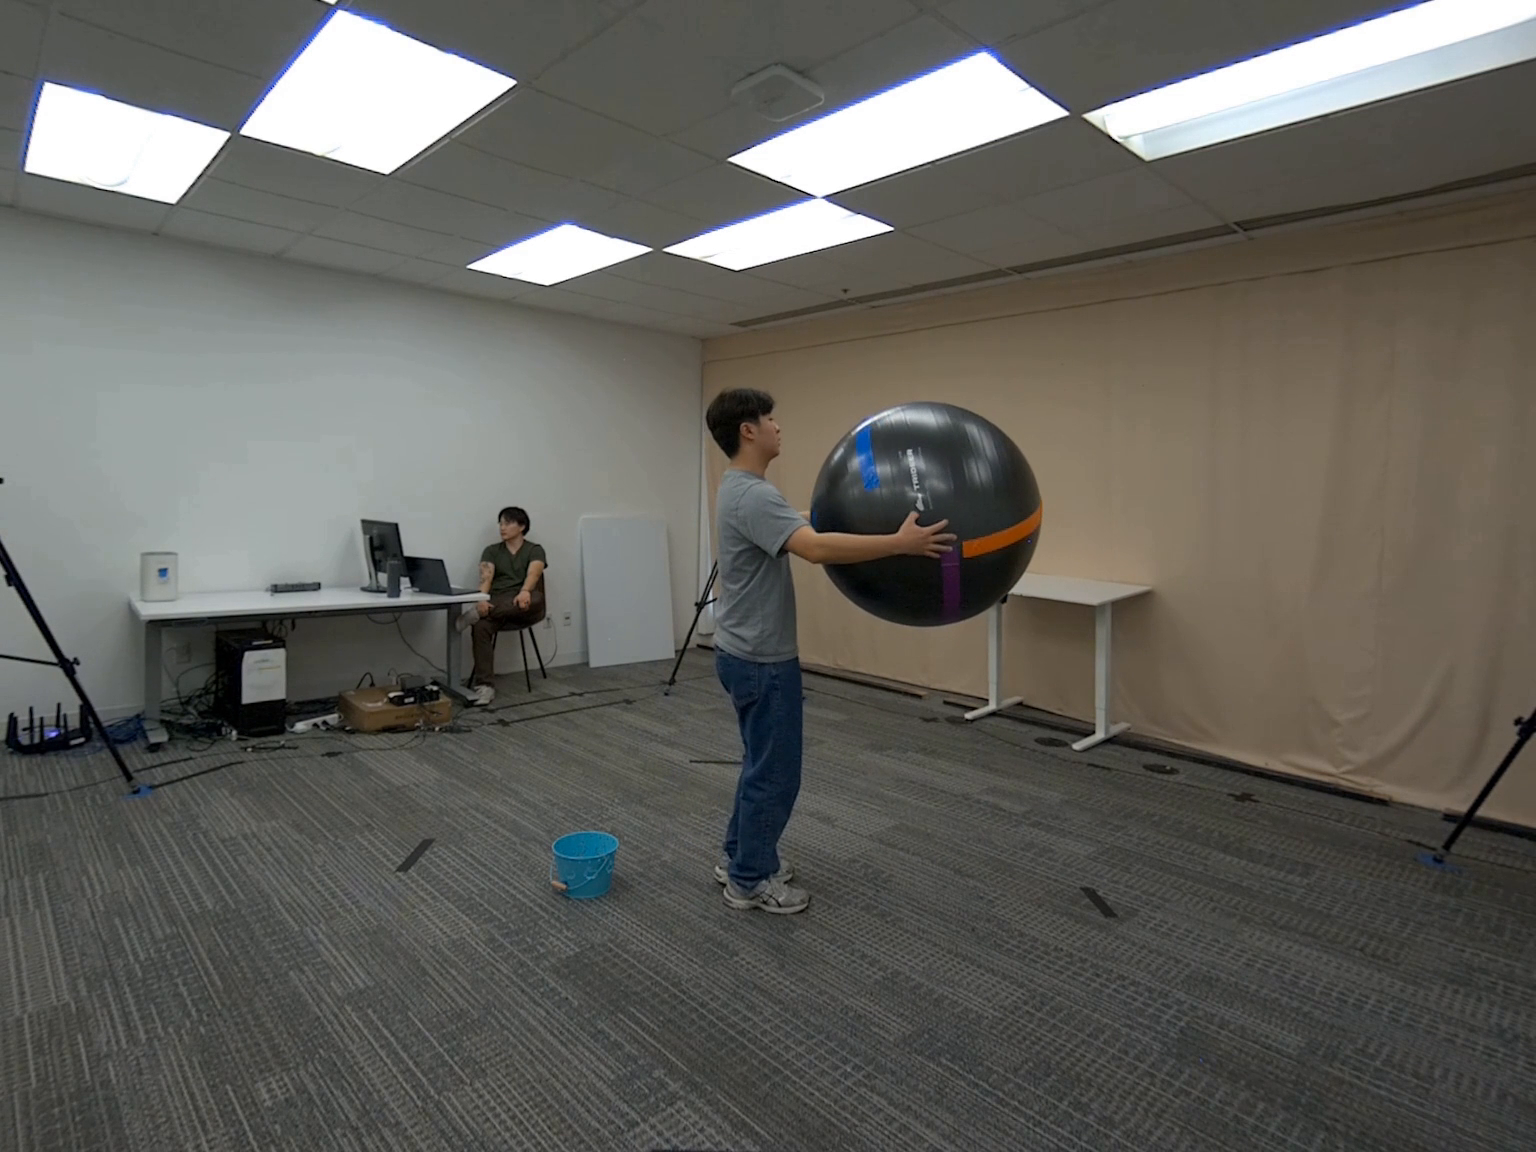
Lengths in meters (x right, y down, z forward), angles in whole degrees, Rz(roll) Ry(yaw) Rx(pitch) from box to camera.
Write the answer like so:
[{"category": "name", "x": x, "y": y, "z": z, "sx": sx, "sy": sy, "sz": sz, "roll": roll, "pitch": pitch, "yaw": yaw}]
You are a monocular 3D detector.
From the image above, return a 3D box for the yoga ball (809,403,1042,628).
[{"category": "yoga ball", "x": 0.531, "y": -0.199, "z": 2.858, "sx": 0.757, "sy": 0.756, "sz": 0.761, "roll": 1, "pitch": 4, "yaw": -1}]
